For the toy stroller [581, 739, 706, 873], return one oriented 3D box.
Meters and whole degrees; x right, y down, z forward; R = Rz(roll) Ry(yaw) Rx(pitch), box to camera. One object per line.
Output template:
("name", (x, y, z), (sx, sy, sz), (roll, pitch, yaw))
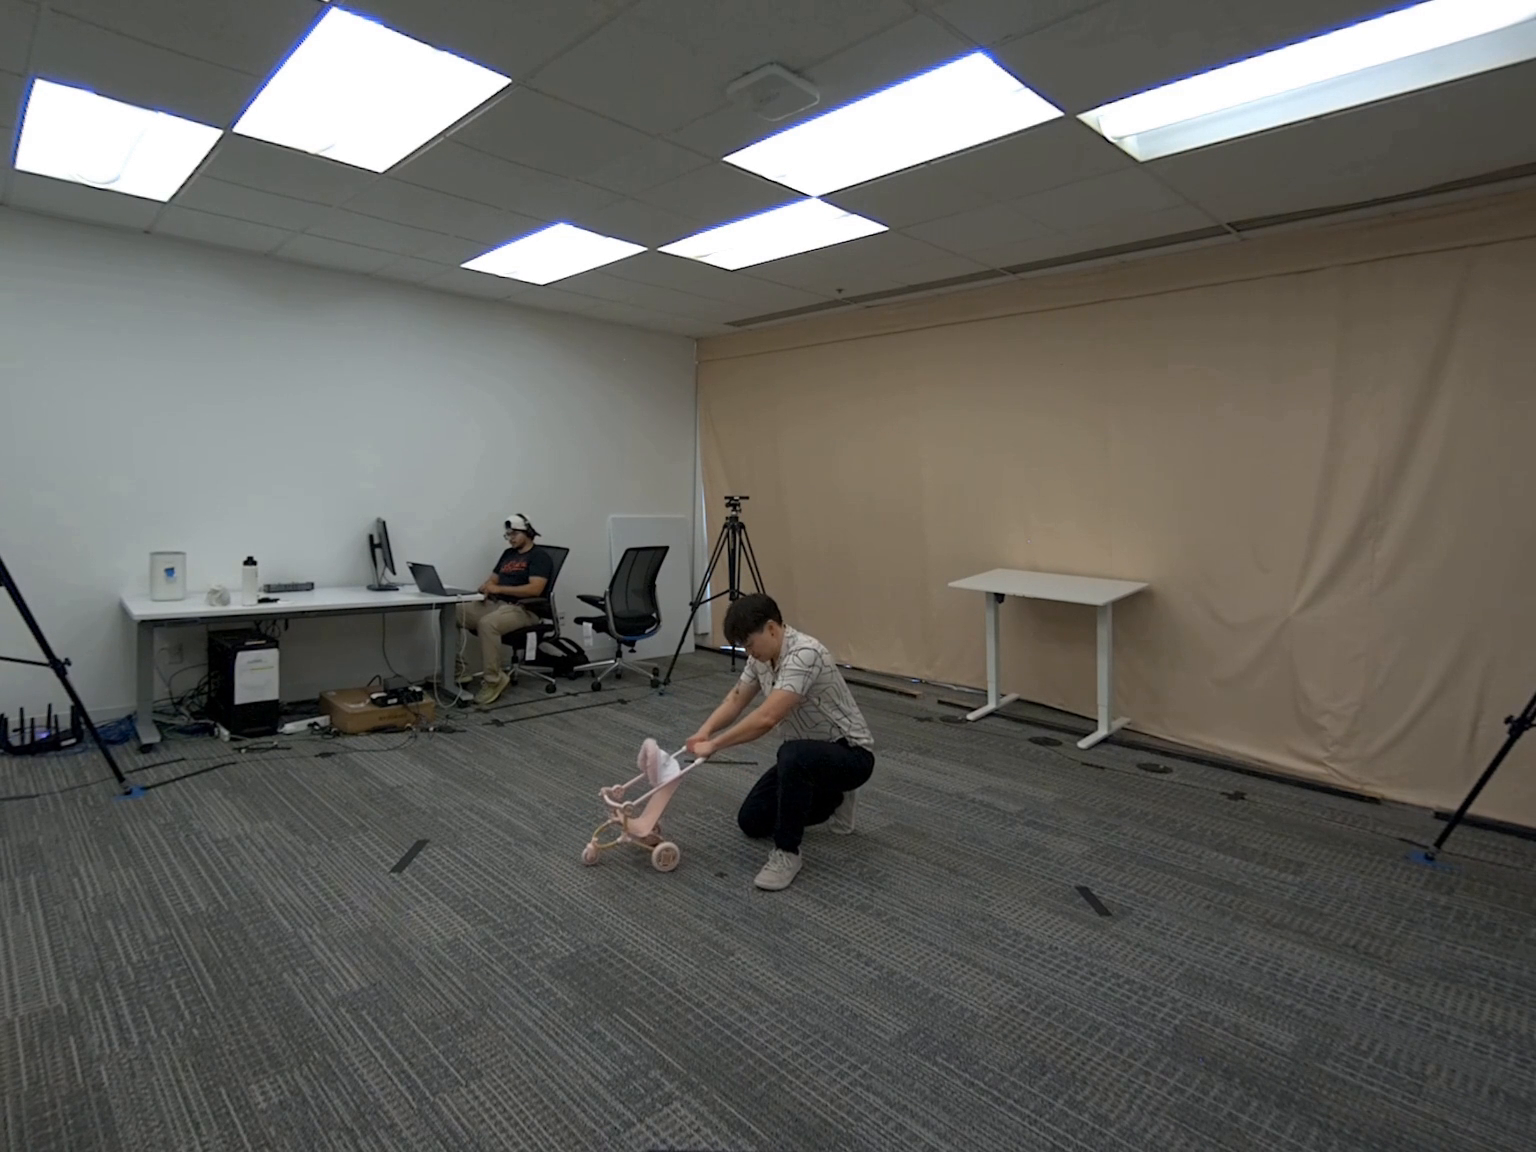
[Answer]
("toy stroller", (-0.479, 0.857, 3.214), (0.336, 0.535, 0.285), (17, -2, -16))
